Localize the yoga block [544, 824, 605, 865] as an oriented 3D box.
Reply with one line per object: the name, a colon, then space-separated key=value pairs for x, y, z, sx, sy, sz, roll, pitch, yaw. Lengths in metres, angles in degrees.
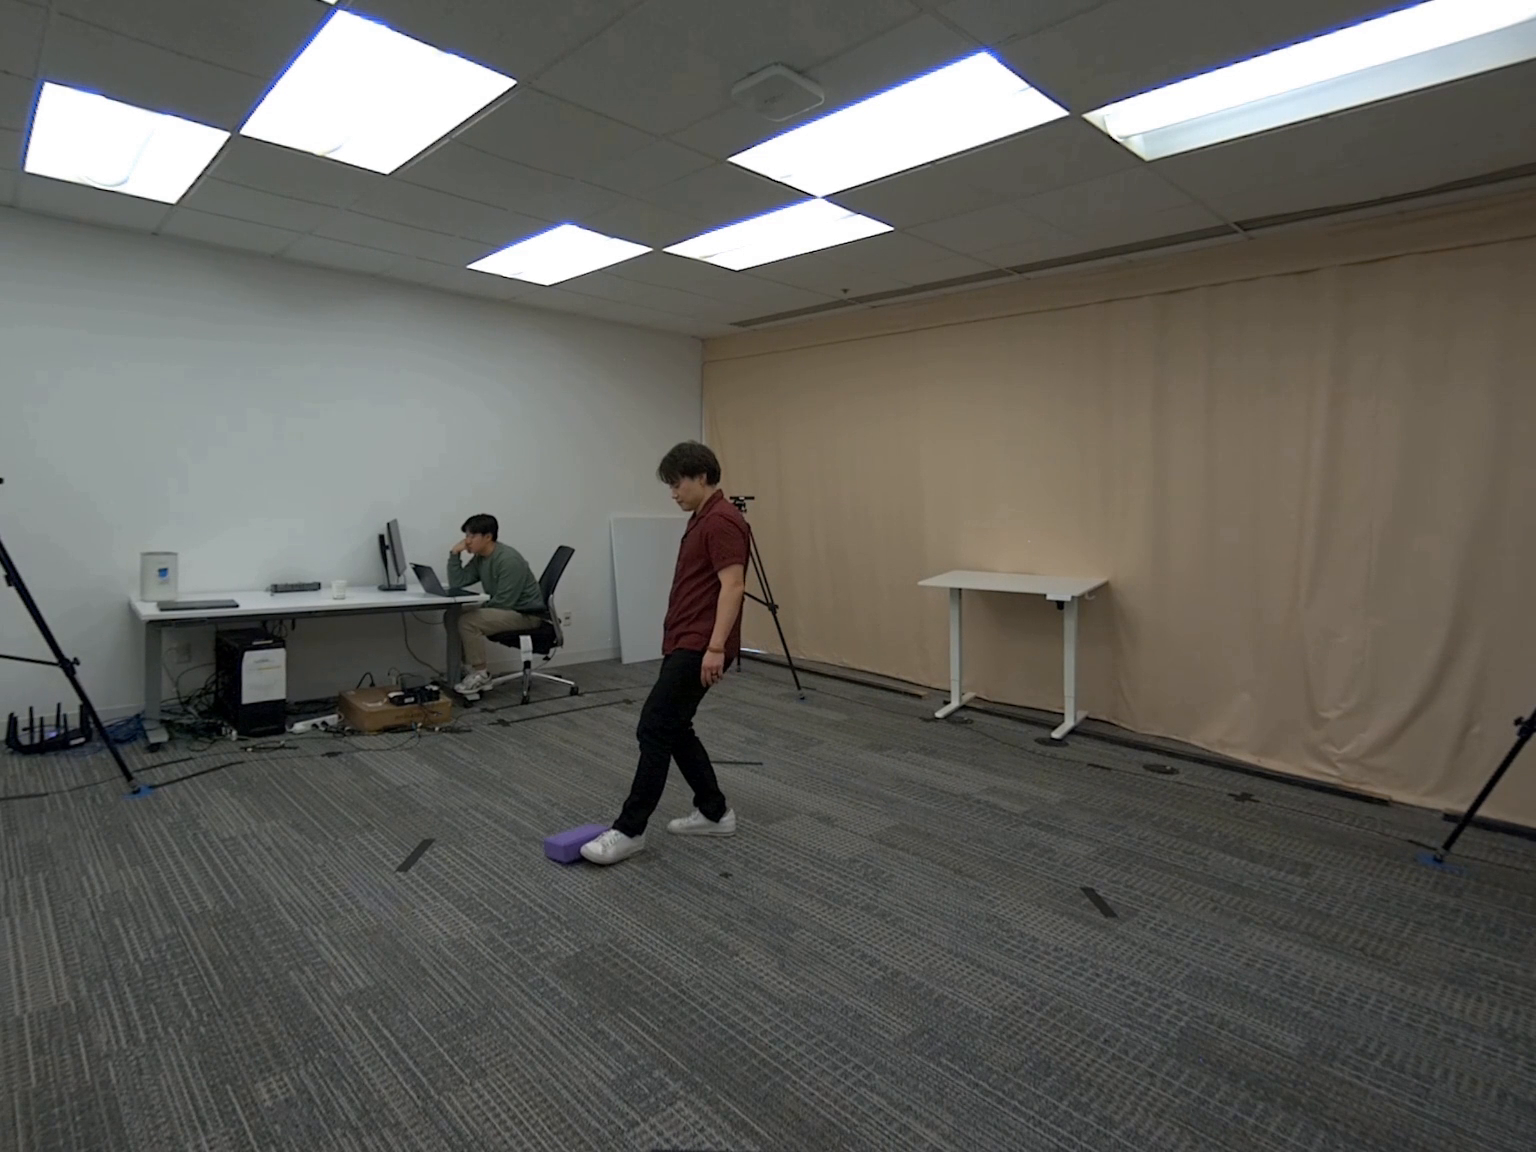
yoga block: x=-0.730 y=1.025 z=3.250 sx=0.152 sy=0.076 sz=0.224 roll=-4 pitch=2 yaw=43
